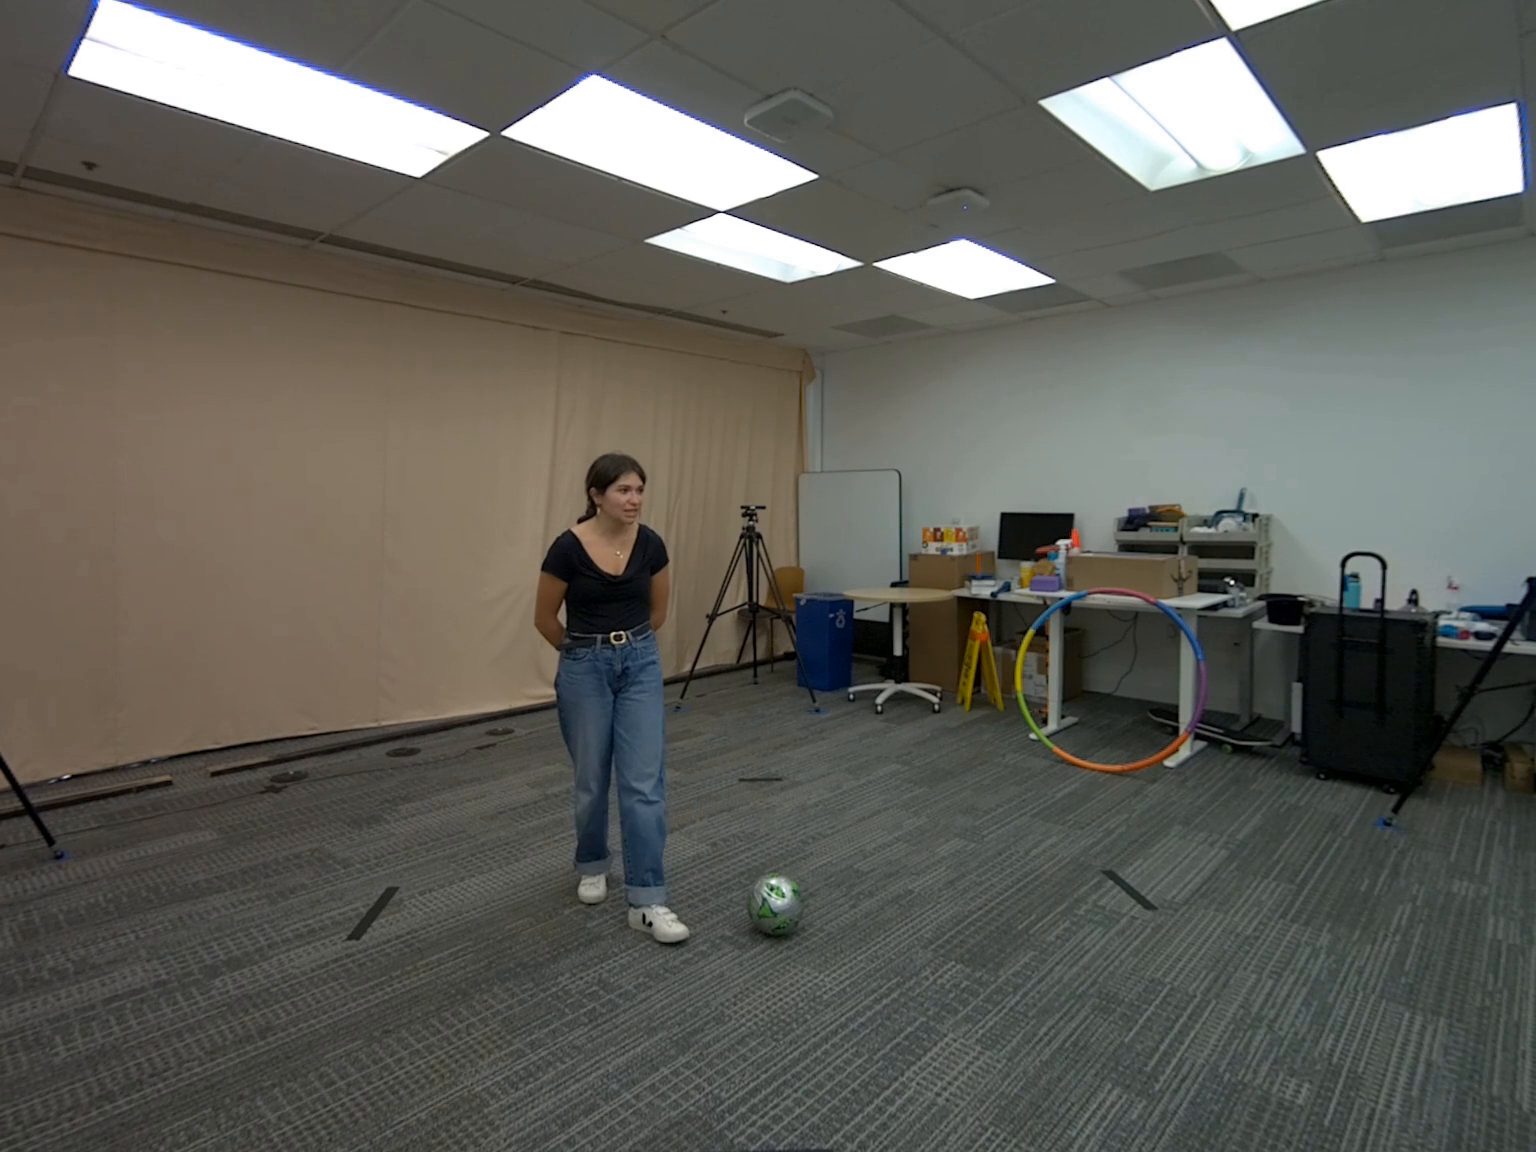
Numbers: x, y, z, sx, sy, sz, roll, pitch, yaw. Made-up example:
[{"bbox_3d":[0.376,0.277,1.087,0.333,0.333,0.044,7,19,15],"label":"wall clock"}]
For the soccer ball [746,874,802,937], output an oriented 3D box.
[{"bbox_3d":[0.037,1.069,2.744,0.187,0.187,0.188,0,4,-2],"label":"soccer ball"}]
